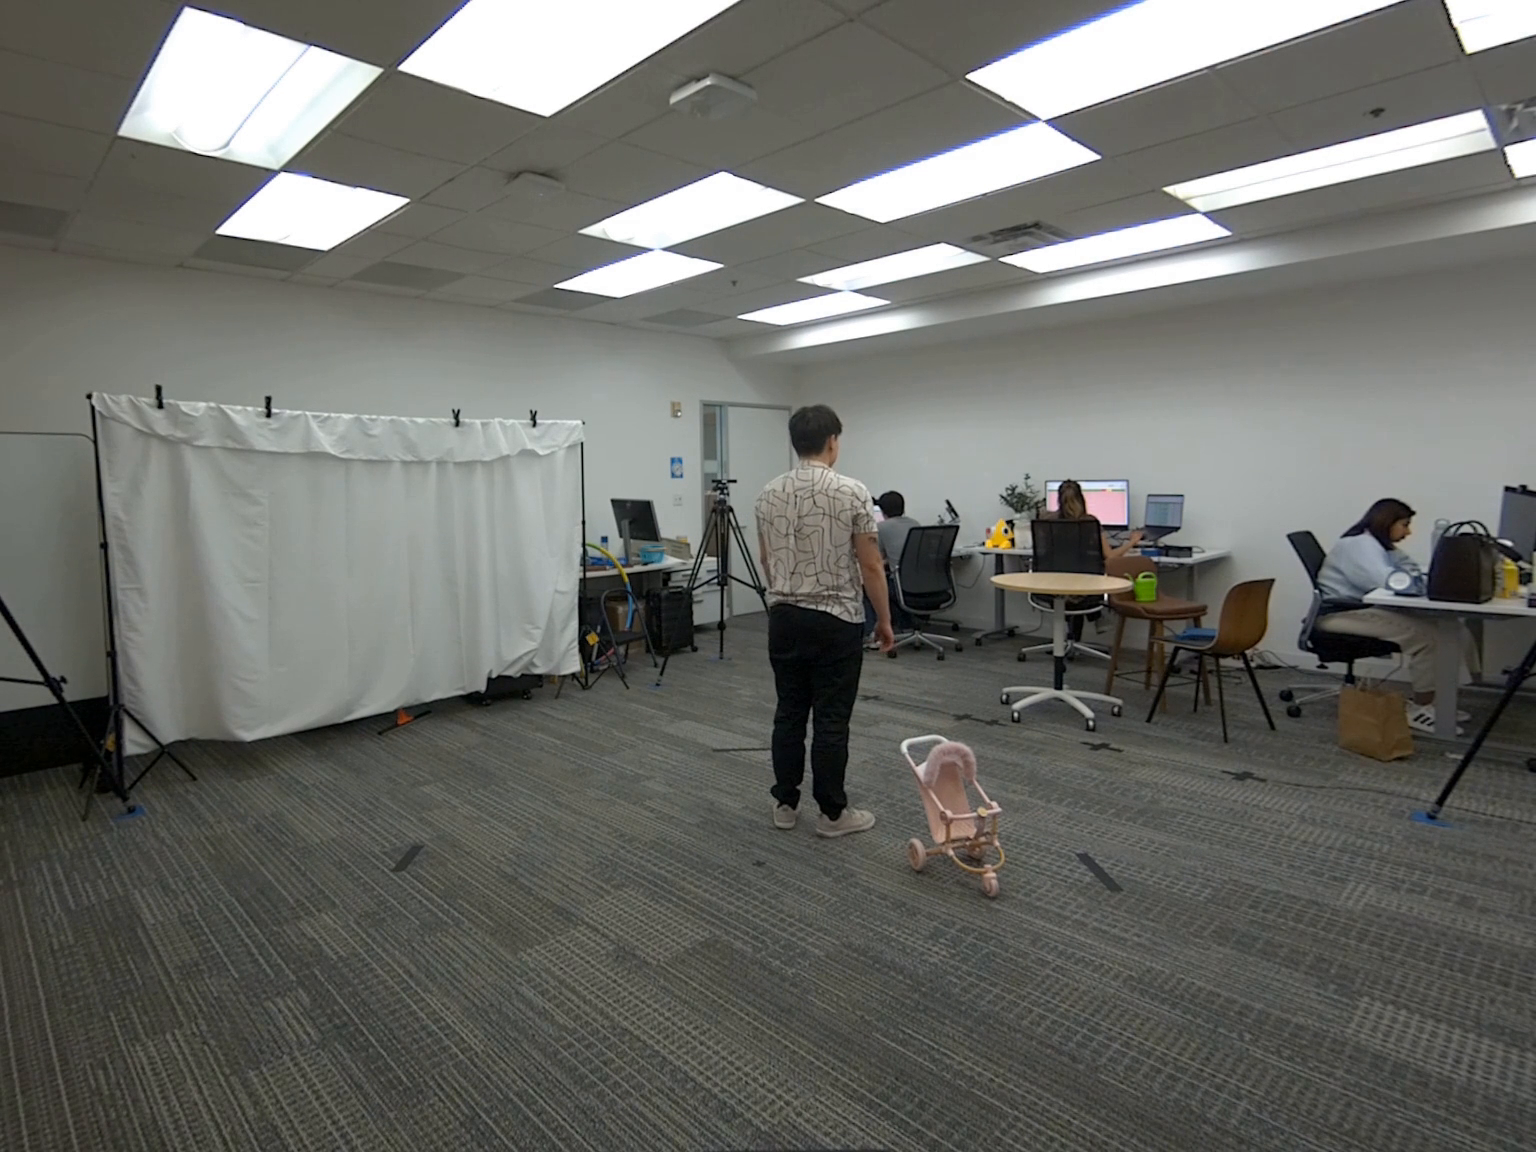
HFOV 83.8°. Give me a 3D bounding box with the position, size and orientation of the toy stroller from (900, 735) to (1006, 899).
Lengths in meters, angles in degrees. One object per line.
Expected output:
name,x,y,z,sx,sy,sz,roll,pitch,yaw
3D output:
toy stroller,0.662,0.824,3.010,0.277,0.543,0.341,-2,-14,-16
